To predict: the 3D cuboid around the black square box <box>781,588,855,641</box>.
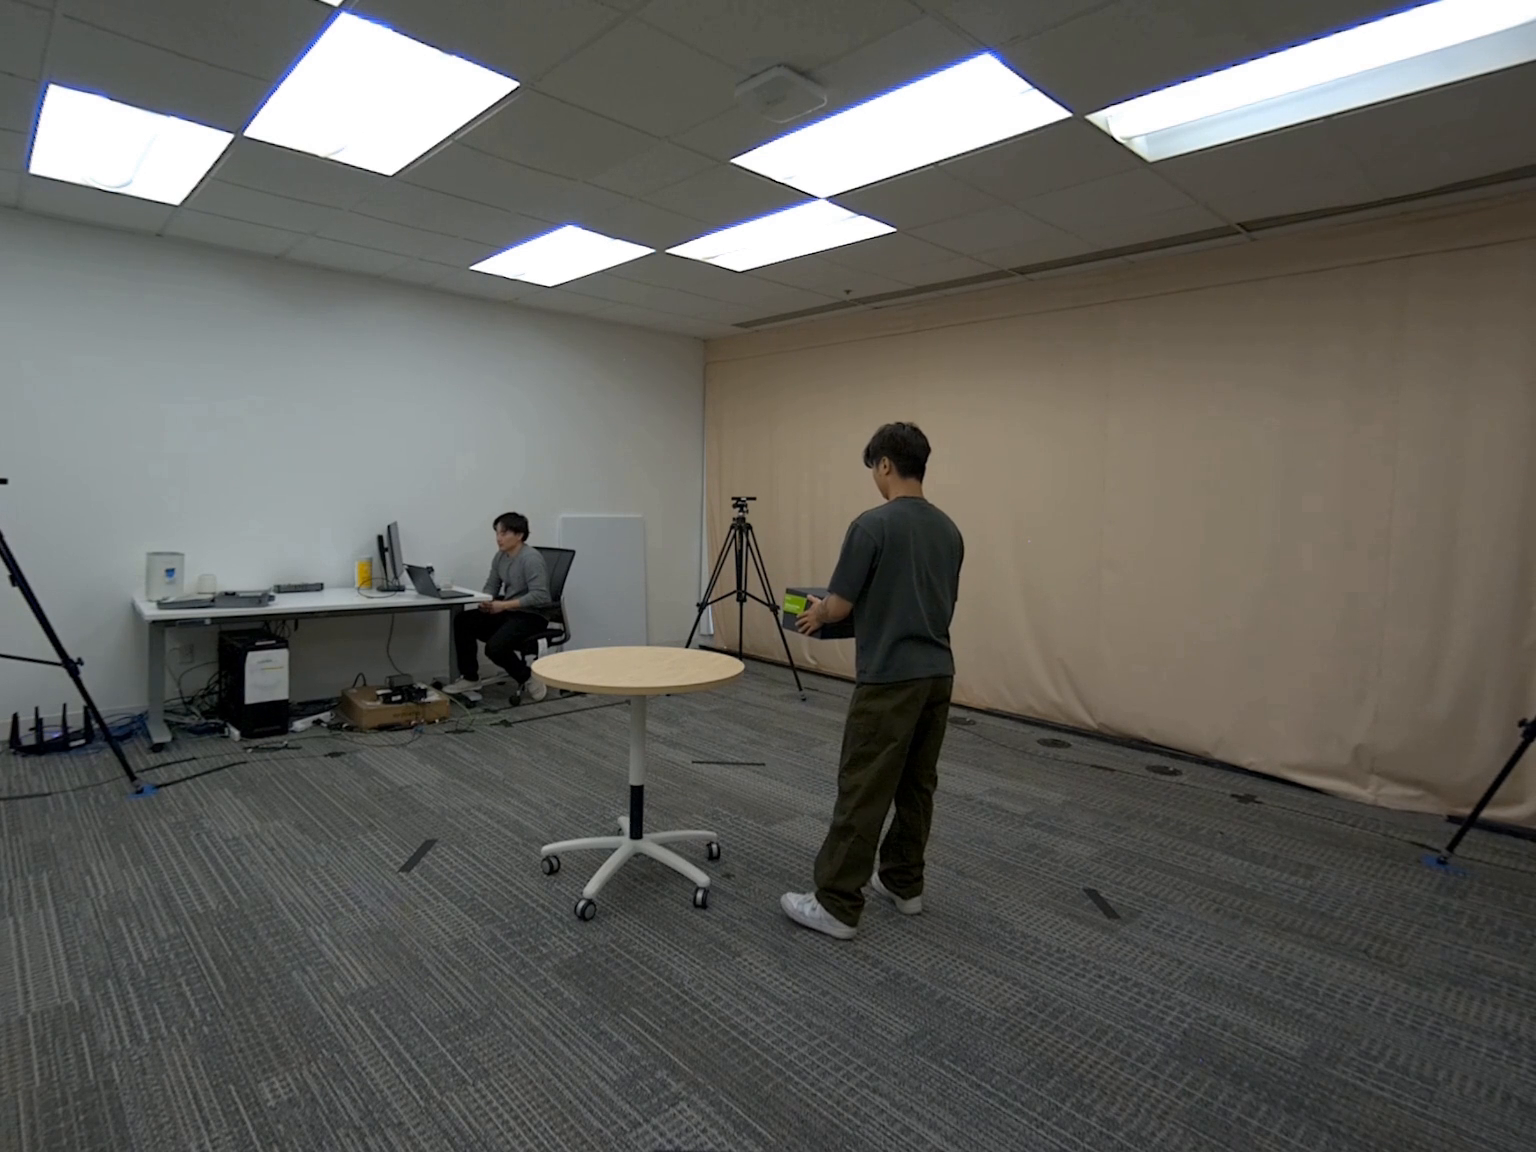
[{"bbox_3d":[0.200,0.137,3.177,0.212,0.155,0.234,1,7,-37],"label":"black square box"}]
